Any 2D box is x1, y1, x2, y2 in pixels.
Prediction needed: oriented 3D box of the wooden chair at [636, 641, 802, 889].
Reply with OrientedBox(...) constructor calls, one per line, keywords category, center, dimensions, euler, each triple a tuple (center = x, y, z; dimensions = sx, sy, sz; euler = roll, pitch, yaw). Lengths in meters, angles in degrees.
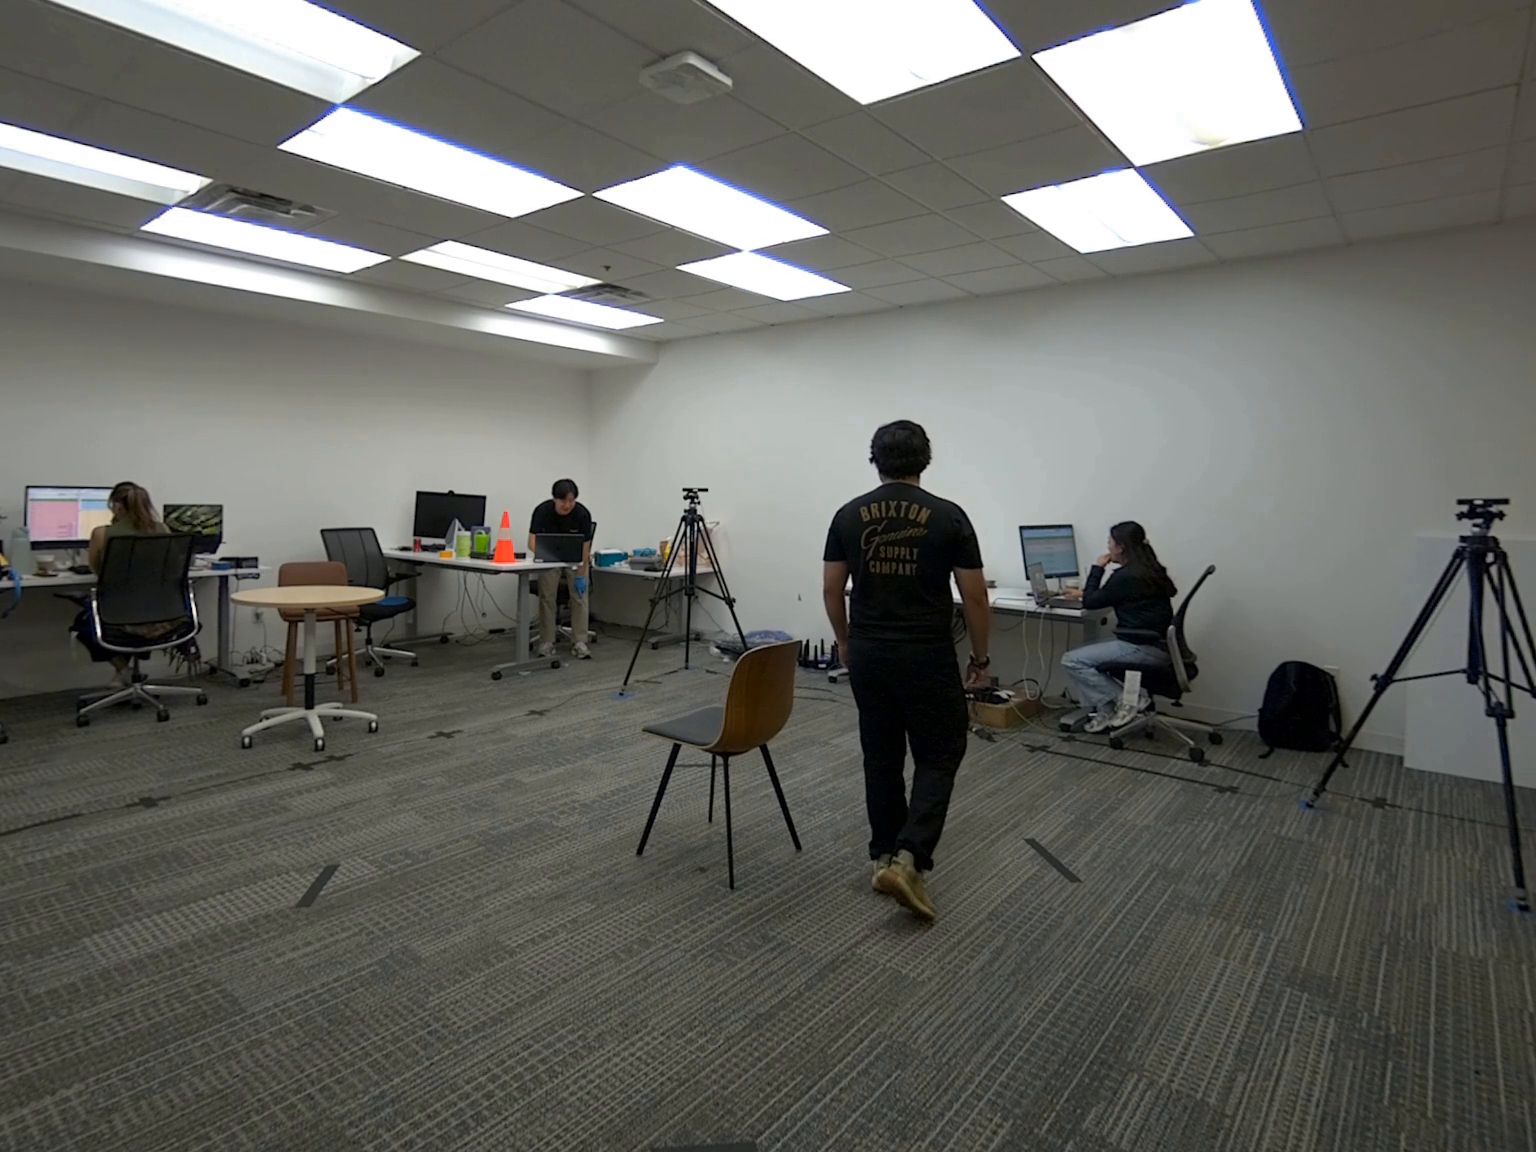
OrientedBox(category="wooden chair", center=(-0.188, 0.630, 3.238), dimensions=(0.541, 0.873, 0.464), euler=(9, 7, 36))
